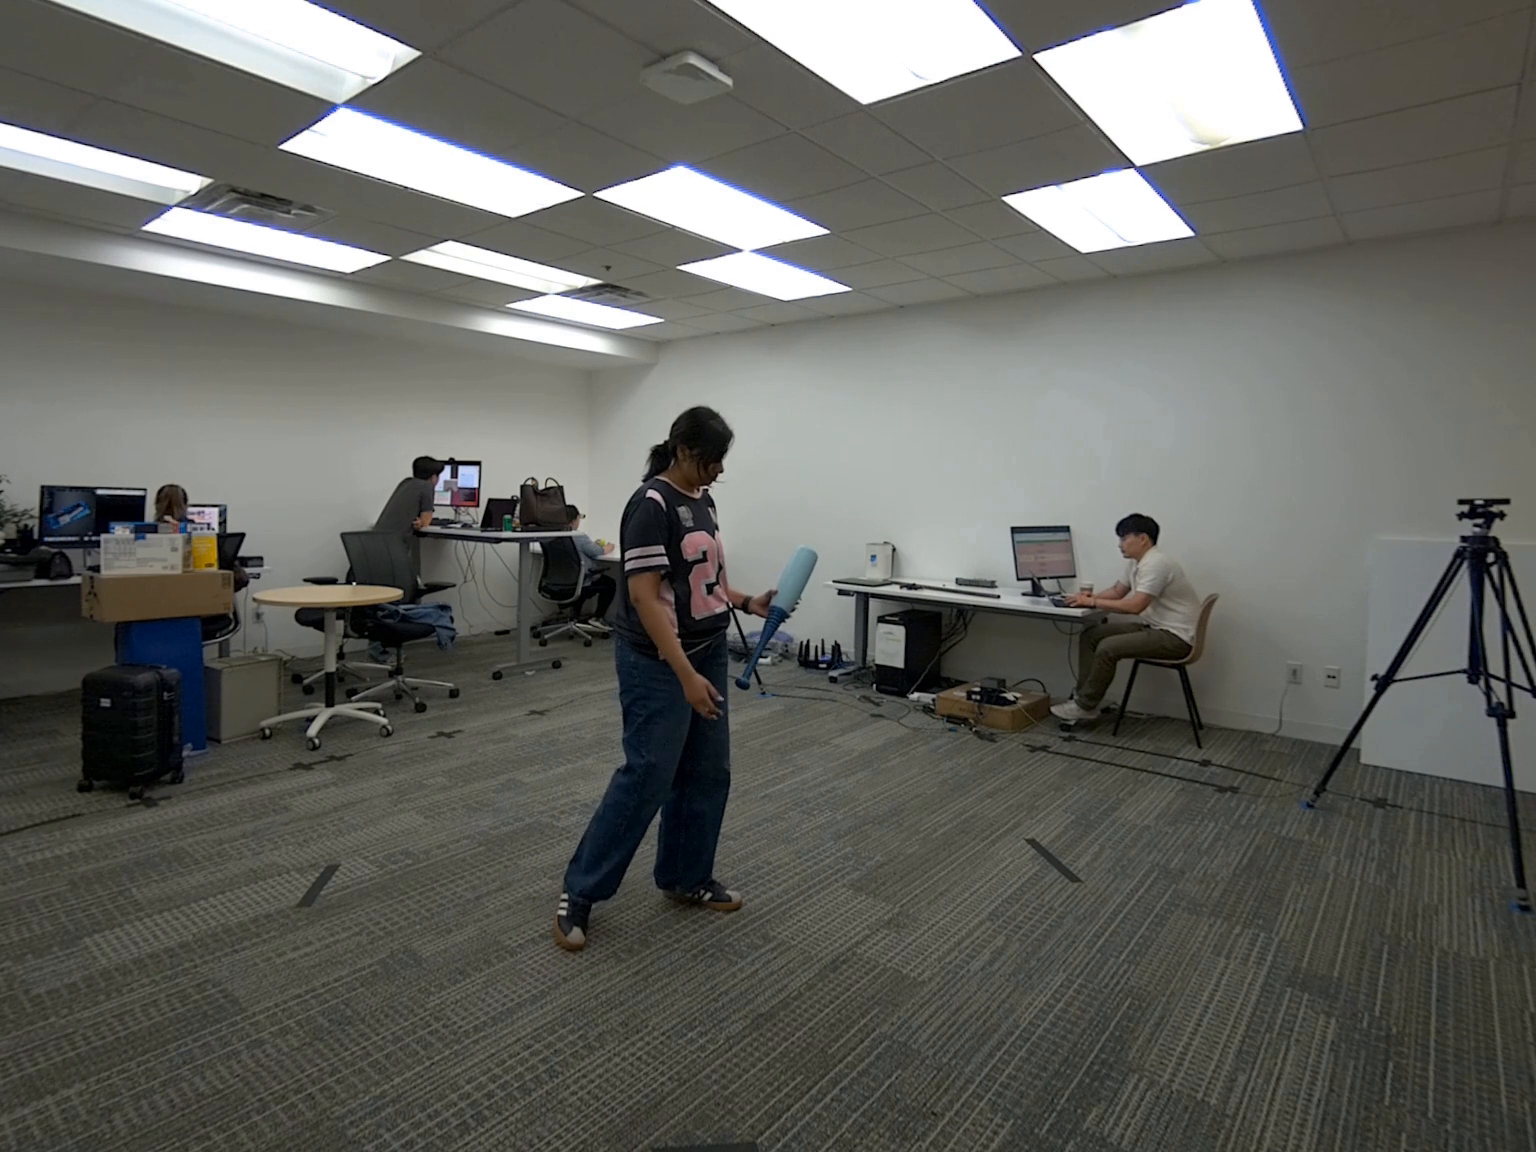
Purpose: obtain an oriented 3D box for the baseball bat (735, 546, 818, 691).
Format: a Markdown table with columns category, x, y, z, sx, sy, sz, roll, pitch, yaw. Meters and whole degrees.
| category | x | y | z | sx | sy | sz | roll | pitch | yaw |
| --- | --- | --- | --- | --- | --- | --- | --- | --- | --- |
| baseball bat | 0.016 | 0.145 | 2.785 | 0.090 | 0.547 | 0.087 | 23 | -25 | 9 |
